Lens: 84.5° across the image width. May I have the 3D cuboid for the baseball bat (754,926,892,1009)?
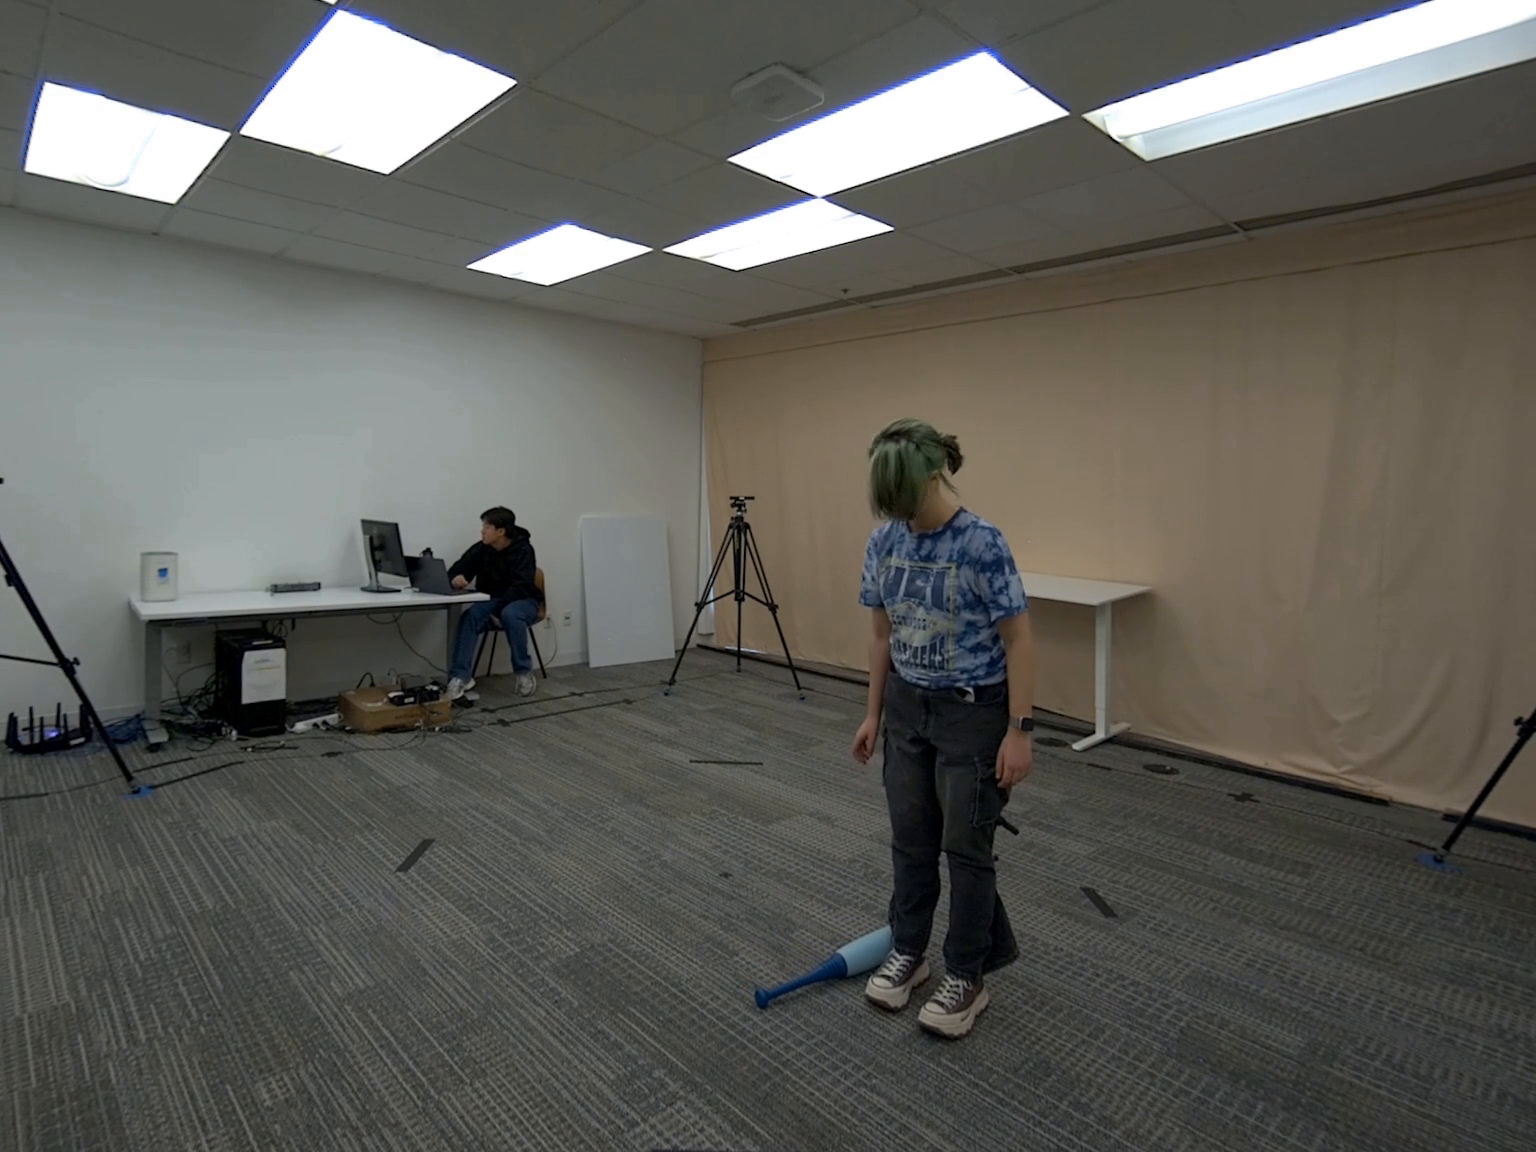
[{"bbox_3d":[0.193,1.139,2.441,0.532,0.088,0.091,-6,8,-35],"label":"baseball bat"}]
